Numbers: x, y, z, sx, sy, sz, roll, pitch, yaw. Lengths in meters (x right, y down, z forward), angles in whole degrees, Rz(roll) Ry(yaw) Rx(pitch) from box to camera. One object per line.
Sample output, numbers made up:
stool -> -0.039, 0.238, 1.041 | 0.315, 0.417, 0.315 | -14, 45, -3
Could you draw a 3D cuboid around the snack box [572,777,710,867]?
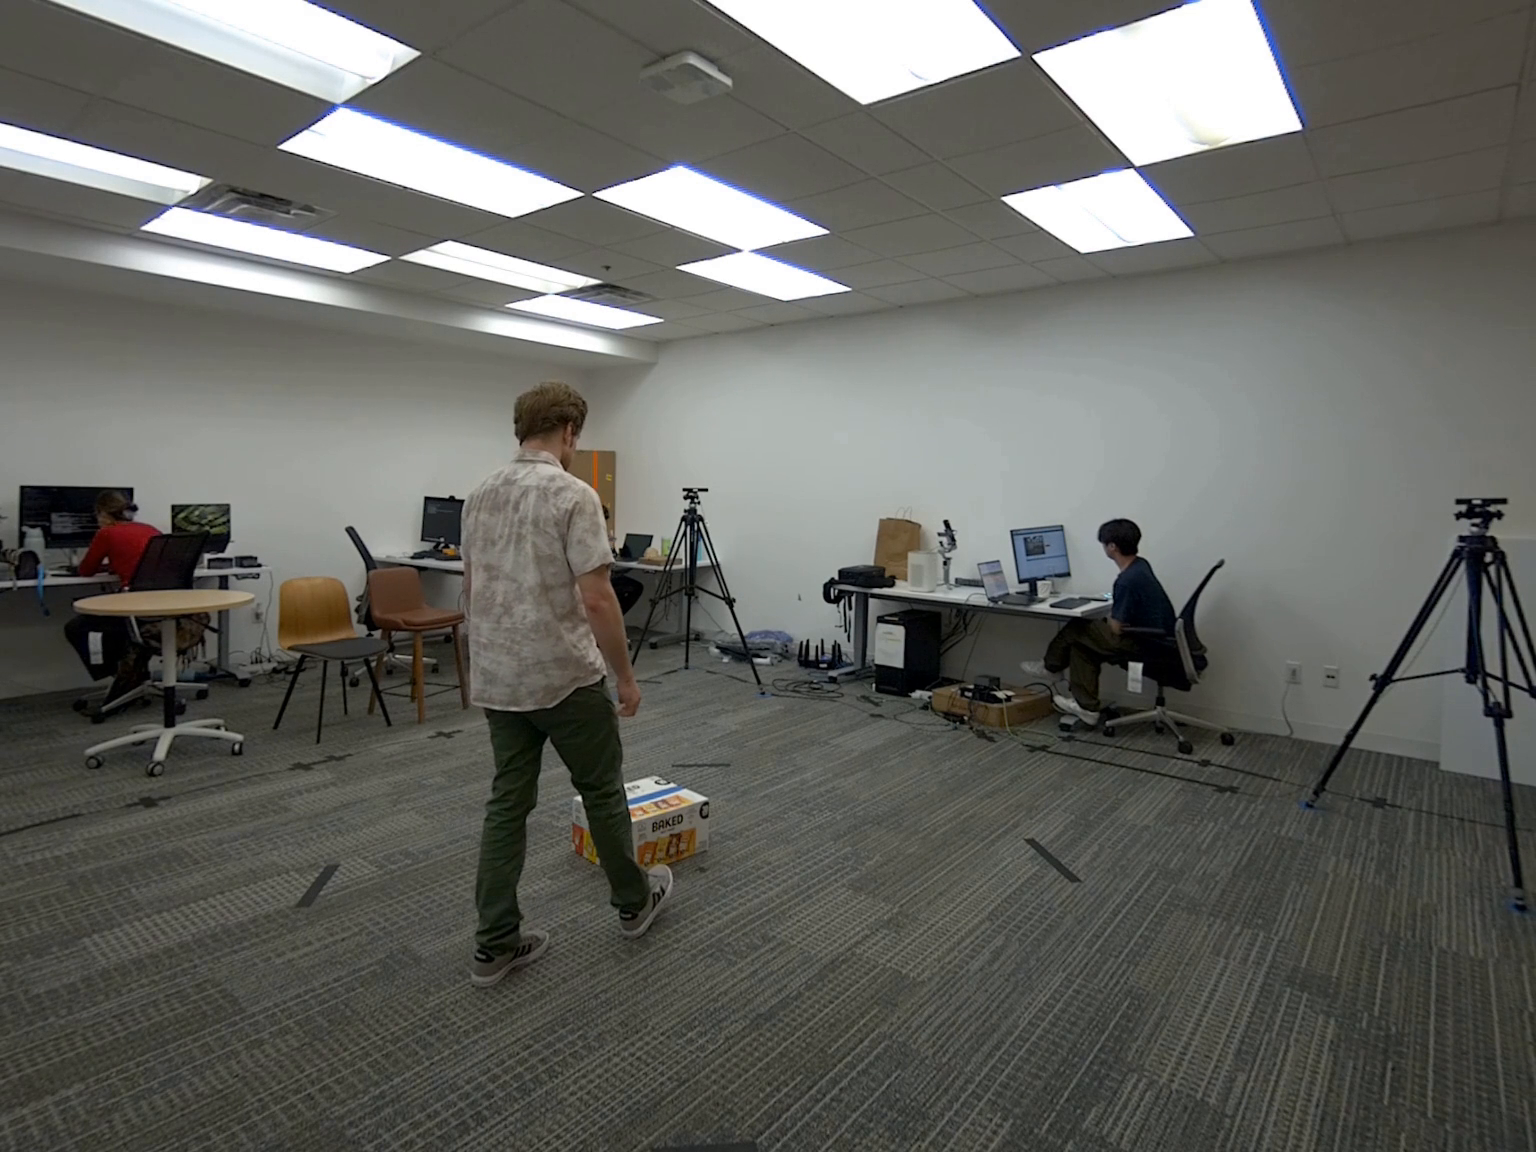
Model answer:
snack box -> -0.498, 0.950, 3.257 | 0.393, 0.205, 0.352 | -4, 7, -44
